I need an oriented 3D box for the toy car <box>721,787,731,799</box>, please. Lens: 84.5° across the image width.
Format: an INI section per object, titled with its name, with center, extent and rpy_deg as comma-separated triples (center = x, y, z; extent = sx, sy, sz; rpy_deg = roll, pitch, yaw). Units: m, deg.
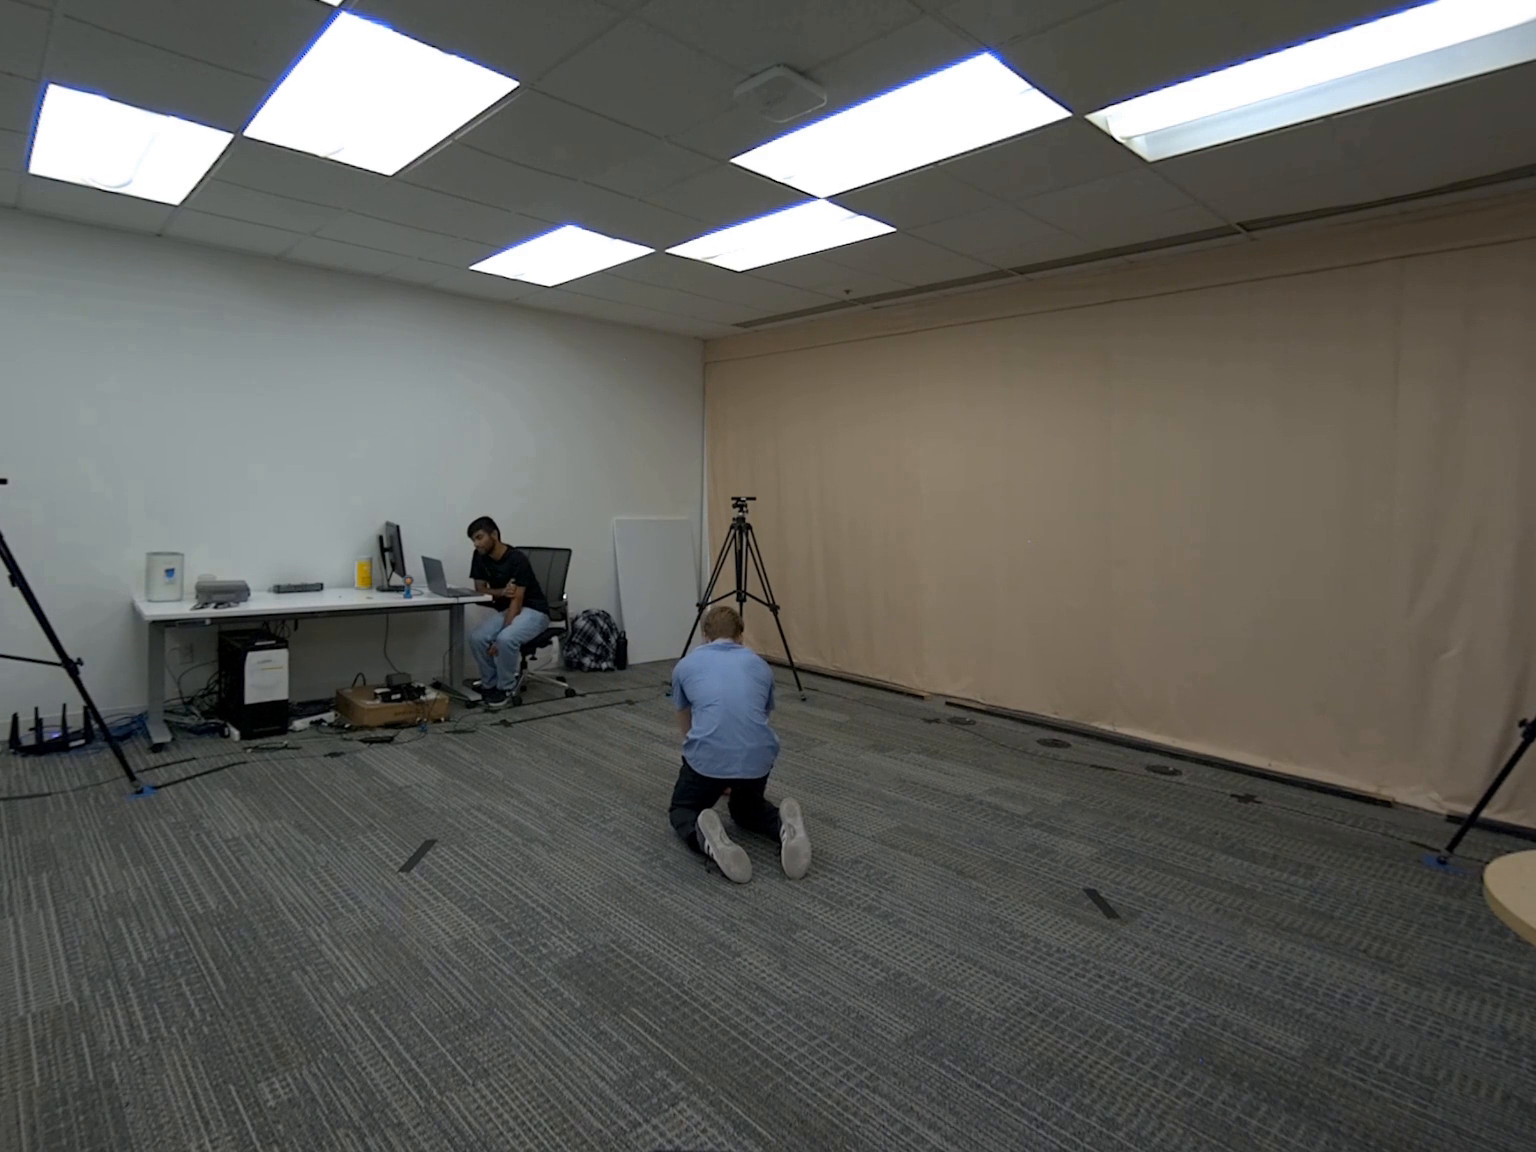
[toy car]
center = -0.138, 1.007, 3.961
extent = 0.259, 0.083, 0.128
rpy_deg = -10, -2, 30
